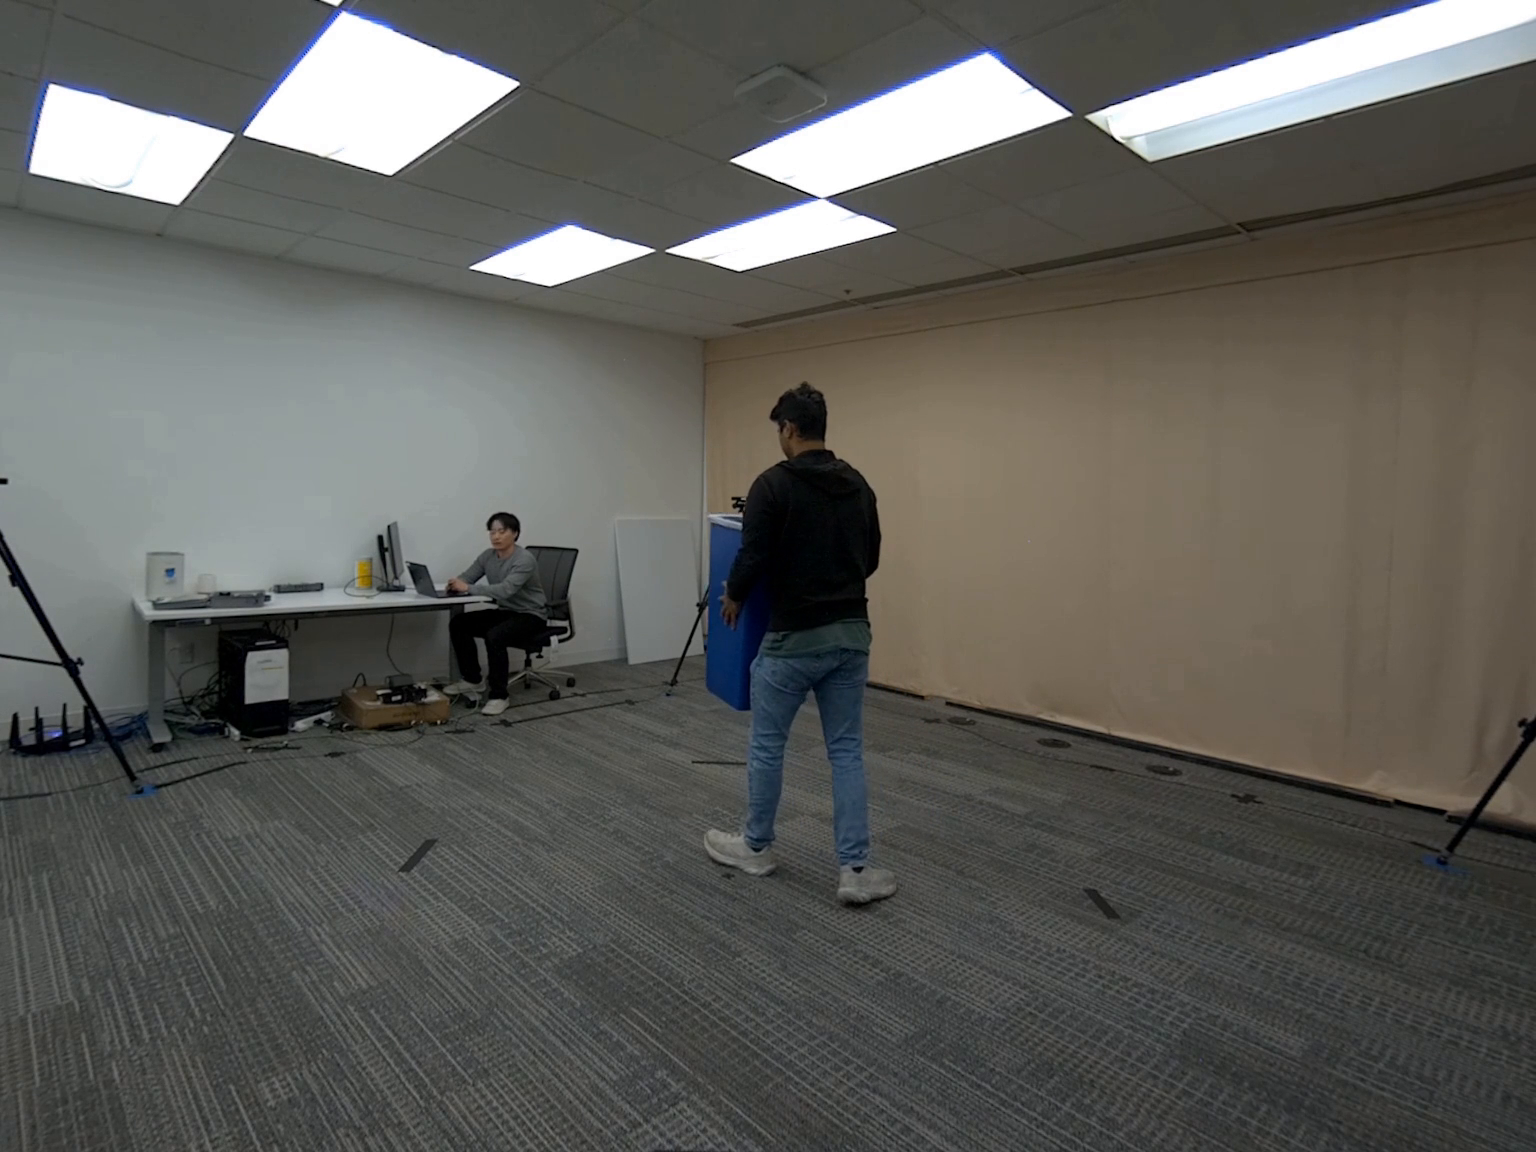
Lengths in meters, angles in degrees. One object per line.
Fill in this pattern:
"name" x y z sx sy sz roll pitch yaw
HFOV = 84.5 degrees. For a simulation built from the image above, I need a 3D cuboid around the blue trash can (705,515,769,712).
"blue trash can" -0.039 0.135 3.357 0.370 0.709 0.384 0 9 -29
